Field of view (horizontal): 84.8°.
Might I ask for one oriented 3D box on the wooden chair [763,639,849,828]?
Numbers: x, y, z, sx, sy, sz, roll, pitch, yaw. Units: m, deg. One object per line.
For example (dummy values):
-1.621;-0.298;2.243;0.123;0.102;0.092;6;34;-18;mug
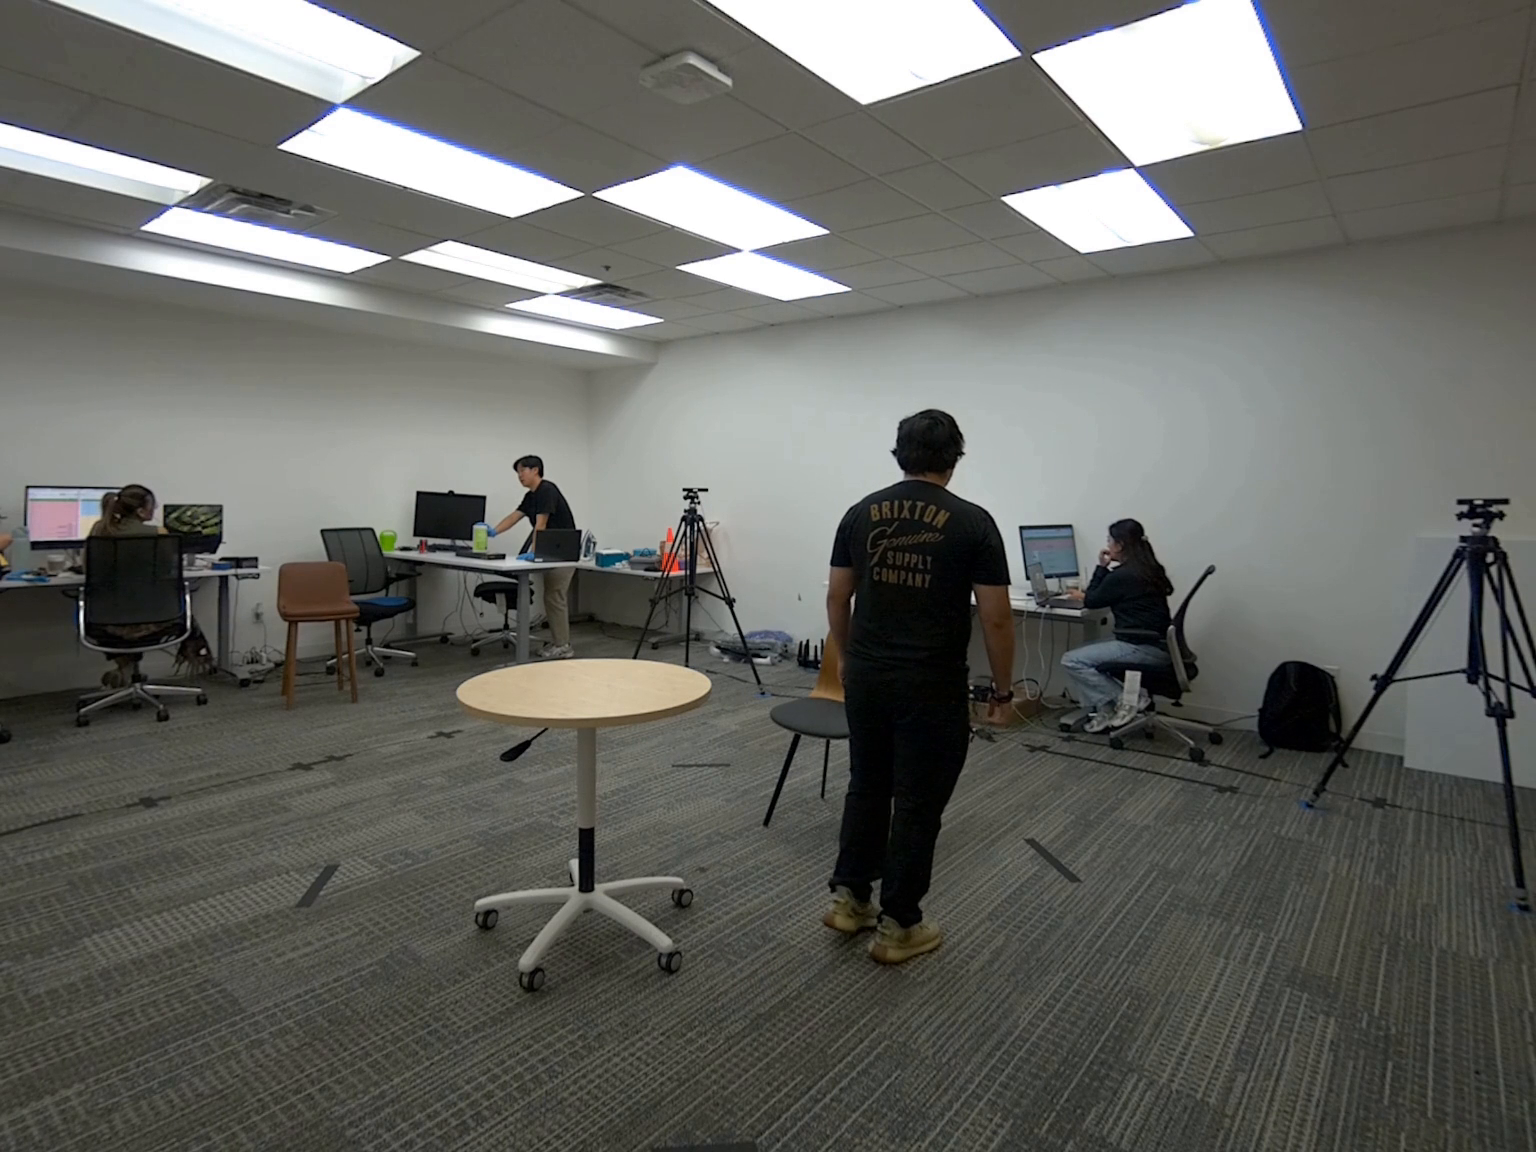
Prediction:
0.287;0.609;3.522;0.494;0.878;0.506;4;0;38;wooden chair
